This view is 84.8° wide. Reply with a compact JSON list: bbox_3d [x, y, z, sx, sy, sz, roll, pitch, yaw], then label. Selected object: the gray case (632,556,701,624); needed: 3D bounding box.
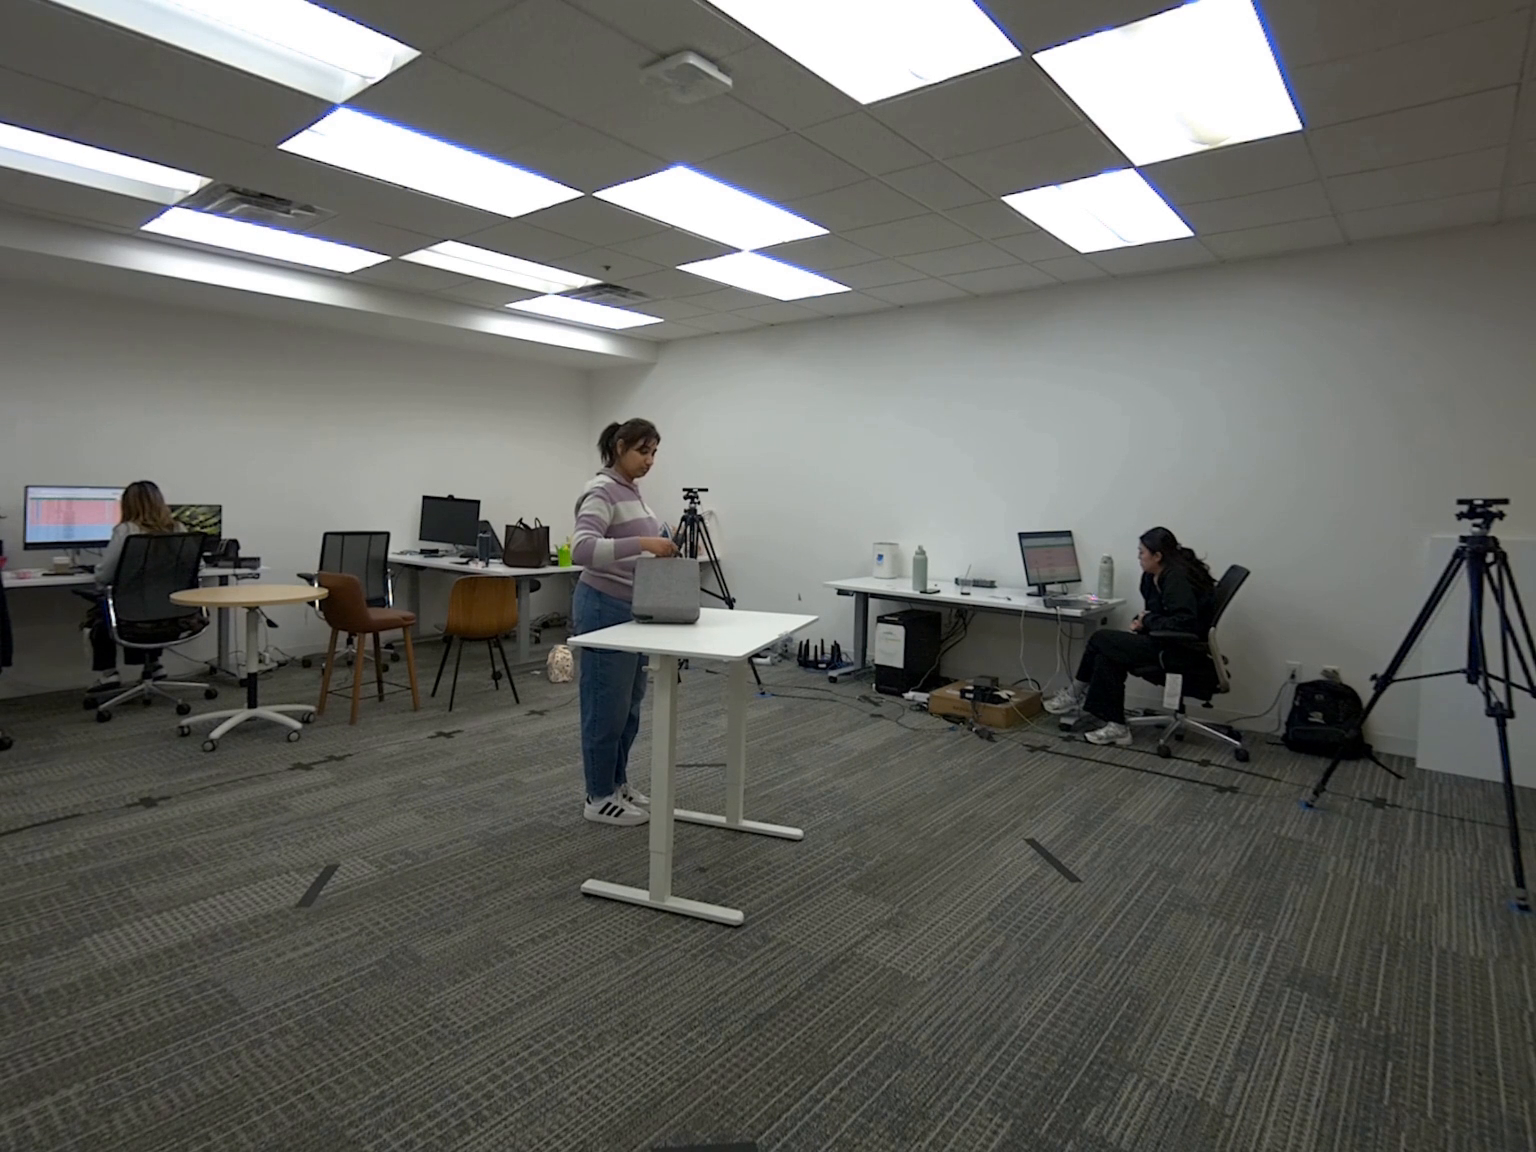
[{"bbox_3d":[-0.389,0.048,3.224,0.257,0.268,0.102,-1,-32,-1],"label":"gray case"}]
